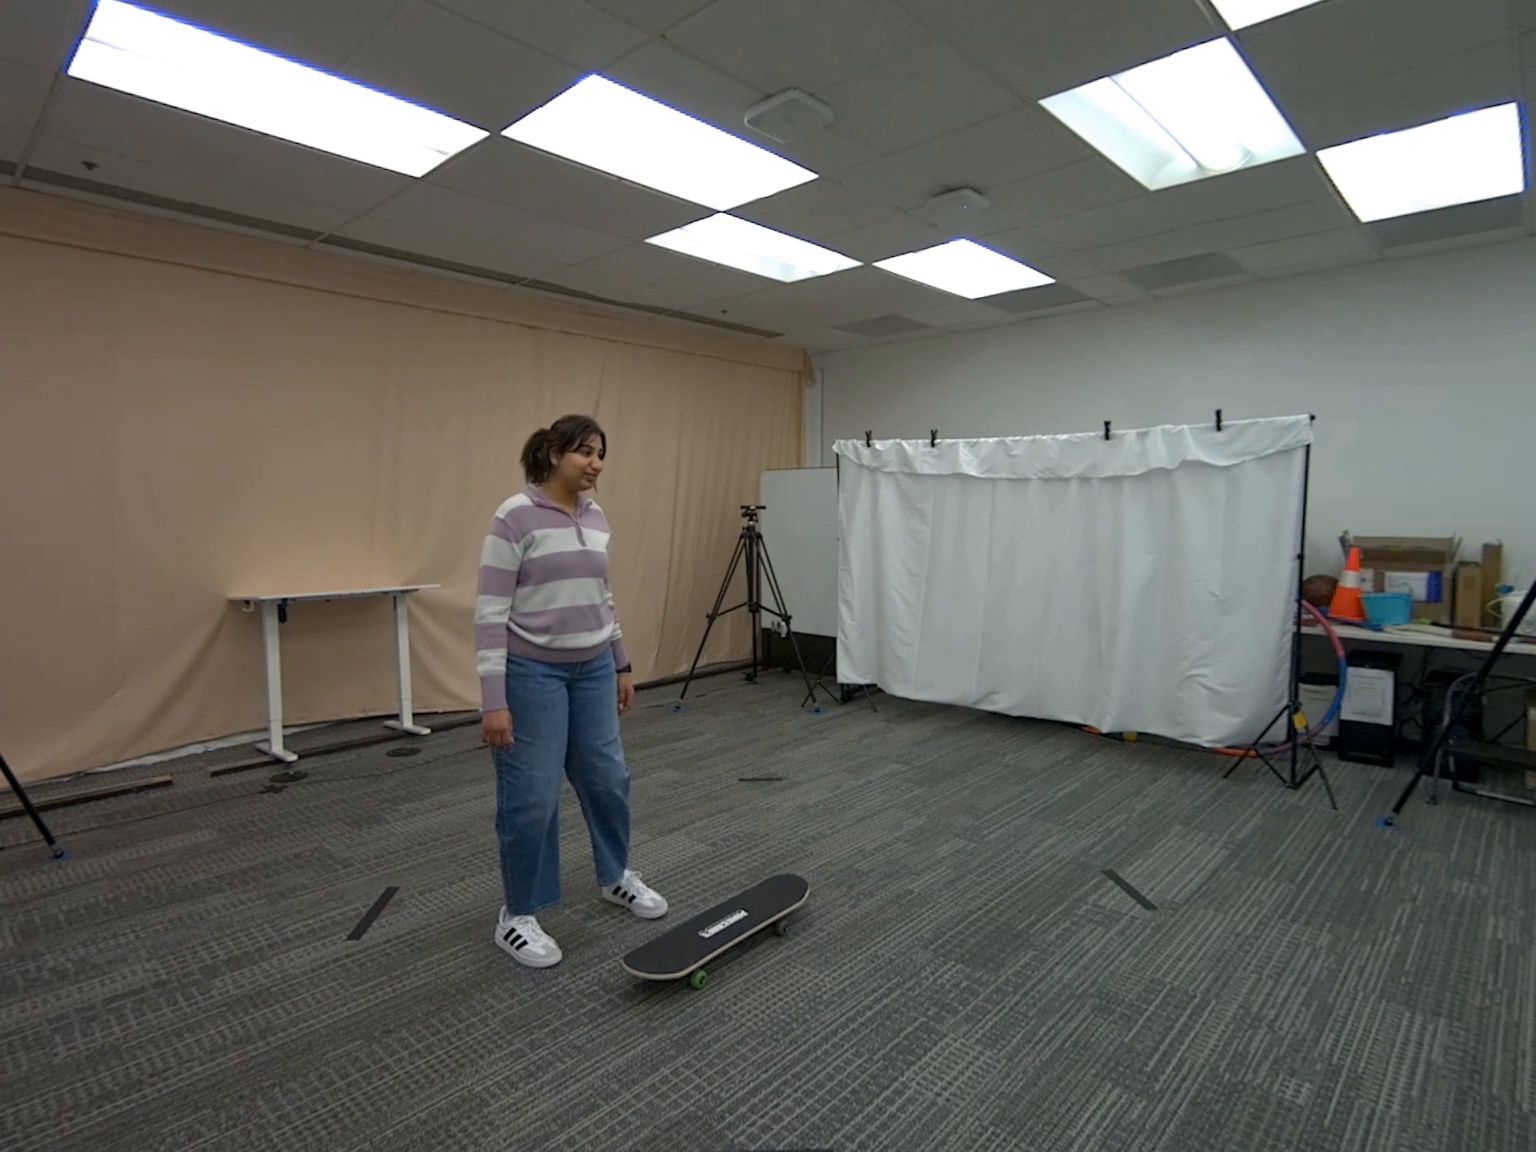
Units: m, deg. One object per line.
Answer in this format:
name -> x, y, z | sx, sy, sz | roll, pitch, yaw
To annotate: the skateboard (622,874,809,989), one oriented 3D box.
skateboard -> -0.144, 1.121, 2.628 | 0.200, 0.110, 0.762 | 2, 5, 40
